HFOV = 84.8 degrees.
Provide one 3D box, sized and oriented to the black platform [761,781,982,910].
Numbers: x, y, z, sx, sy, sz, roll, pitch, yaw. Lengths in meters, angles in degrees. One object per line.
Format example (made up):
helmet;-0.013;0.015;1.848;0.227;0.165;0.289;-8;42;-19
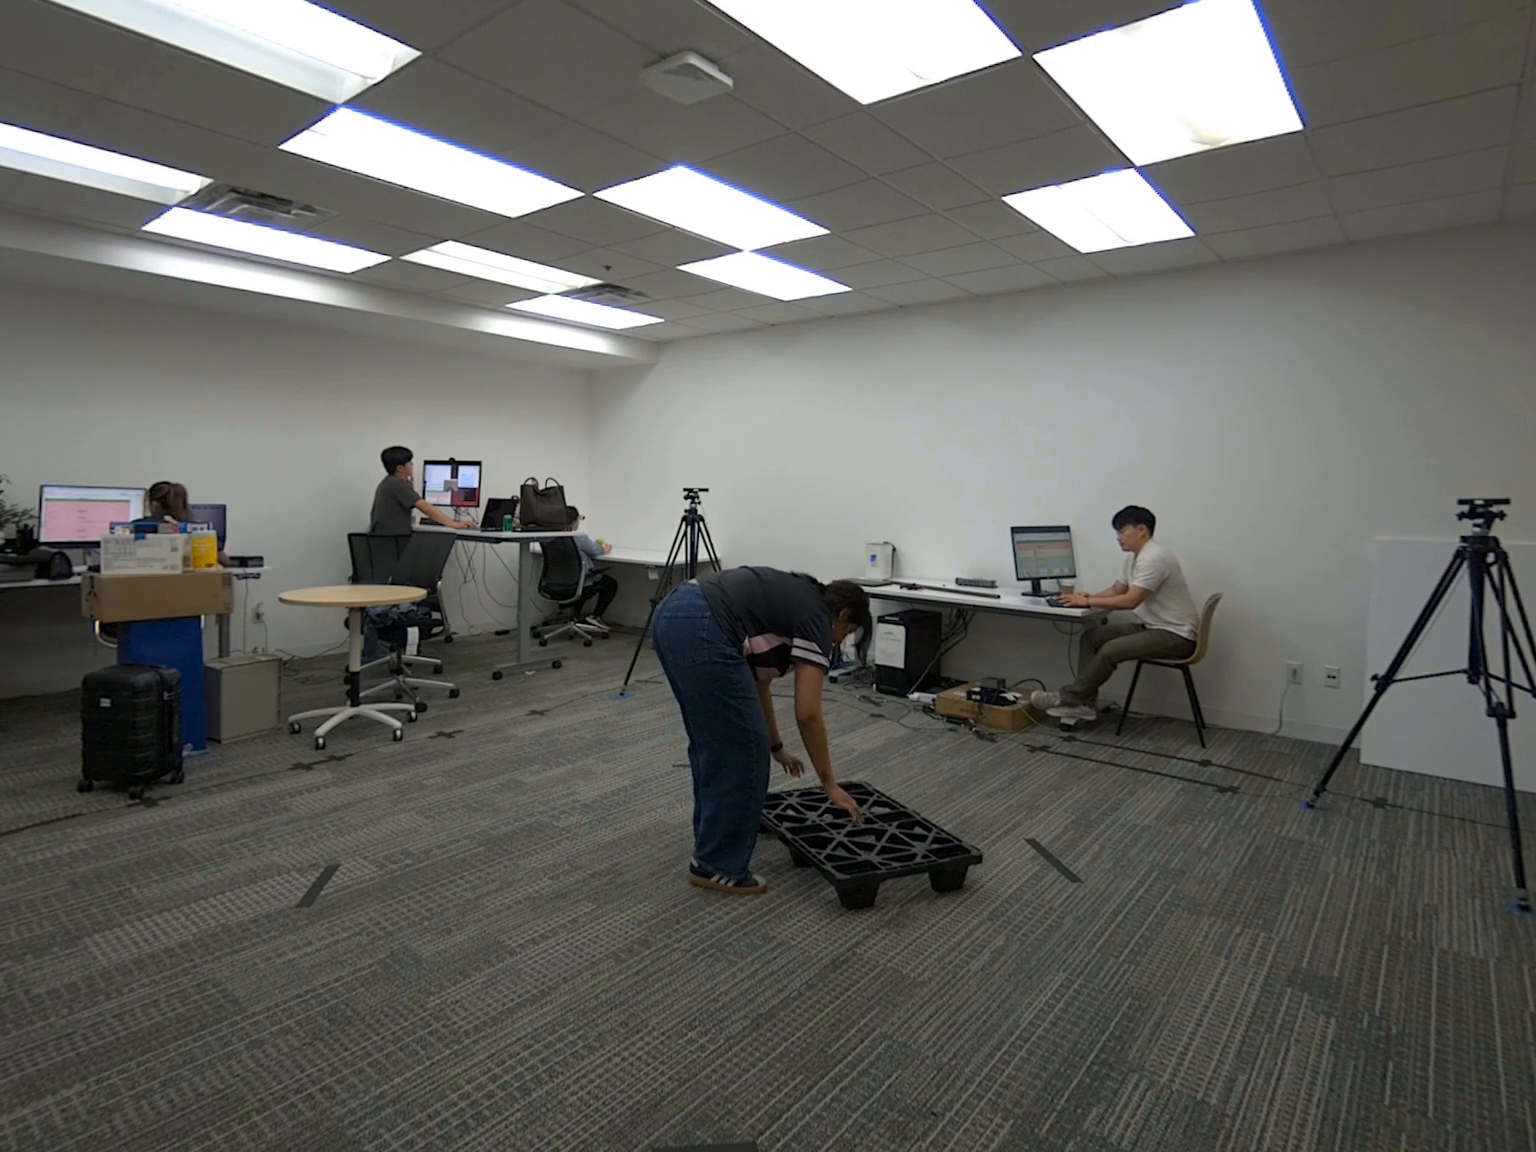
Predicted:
black platform;0.309;0.999;3.238;0.591;0.143;0.828;-2;6;-25
